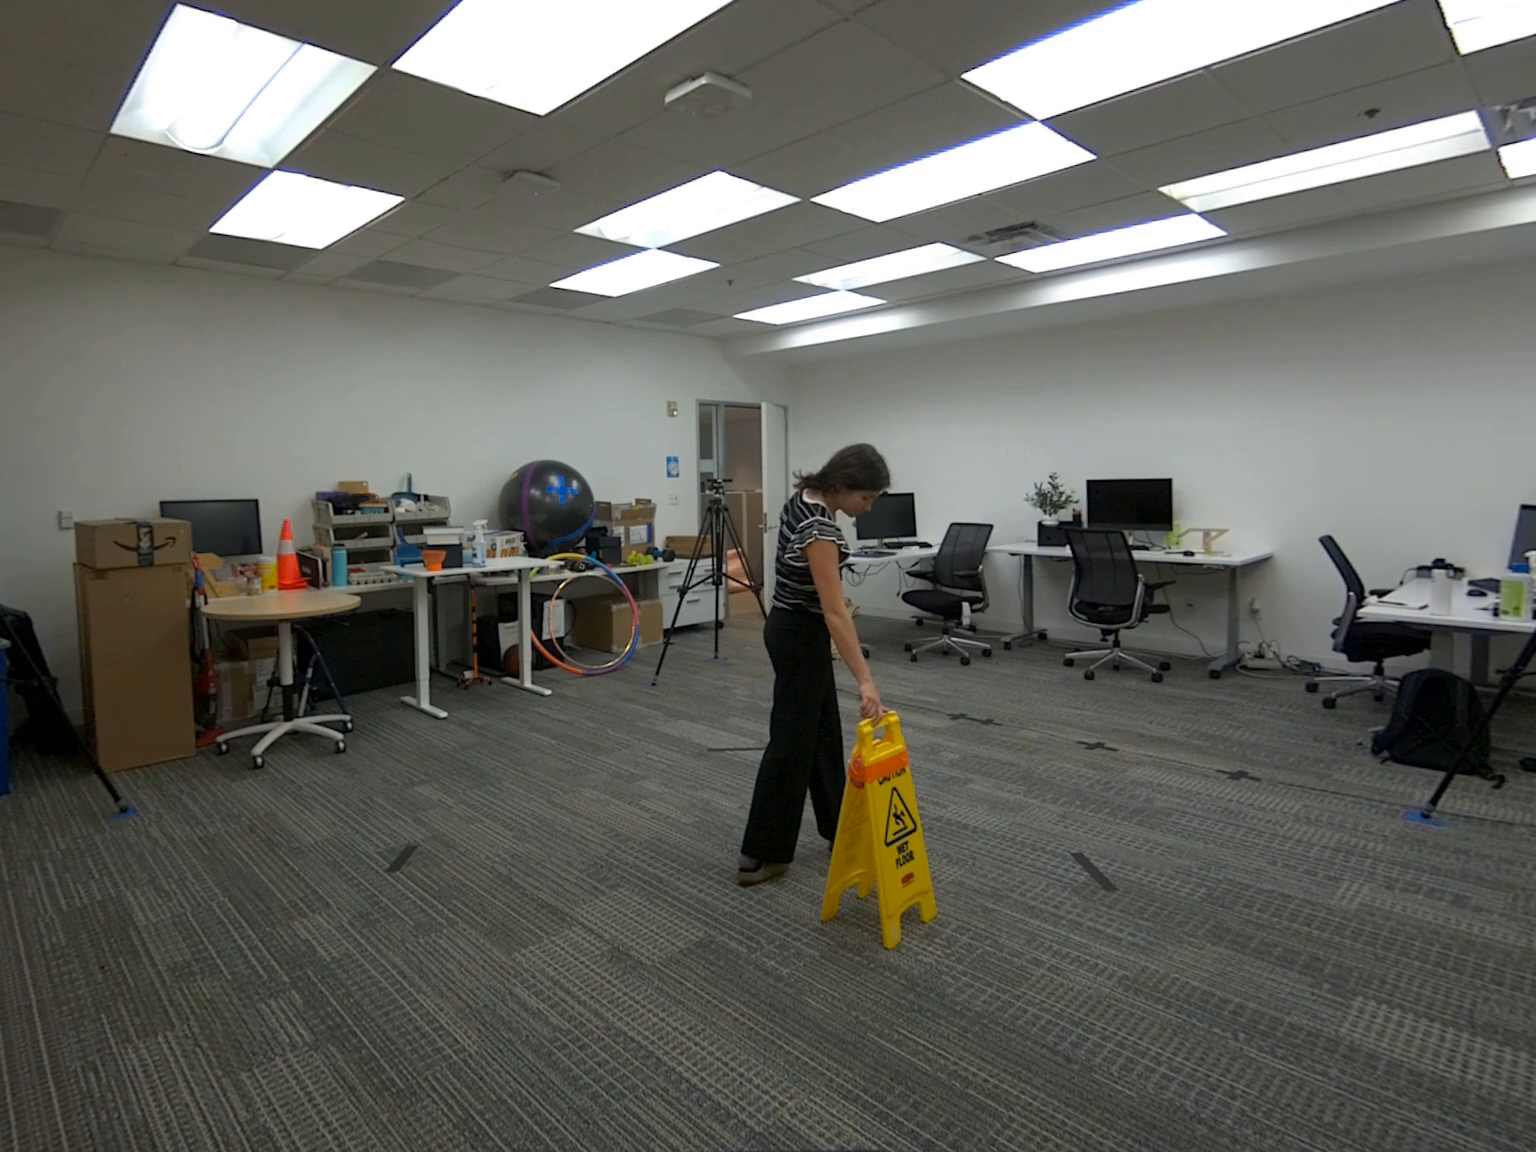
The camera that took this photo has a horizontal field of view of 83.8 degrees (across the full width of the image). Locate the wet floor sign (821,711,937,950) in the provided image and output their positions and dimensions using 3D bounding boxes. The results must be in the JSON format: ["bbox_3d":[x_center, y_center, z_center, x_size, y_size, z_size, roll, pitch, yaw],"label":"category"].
[{"bbox_3d":[0.349,0.761,2.686,0.299,0.643,0.275,5,7,41],"label":"wet floor sign"}]
